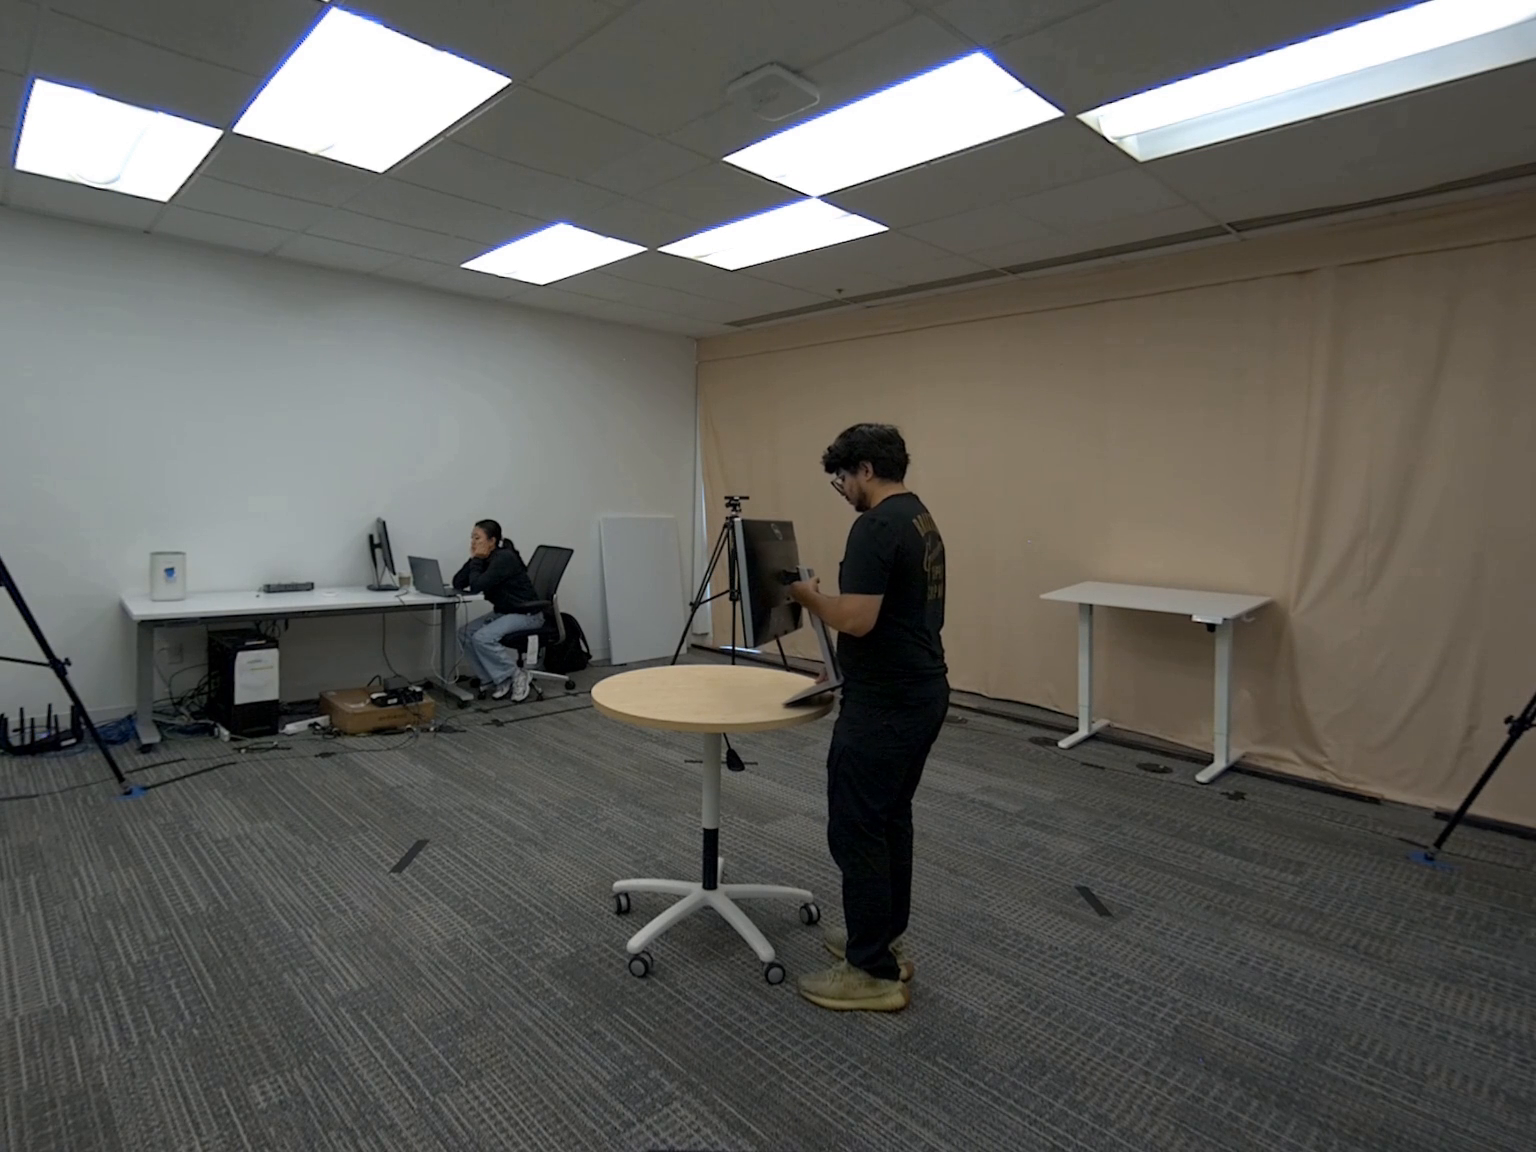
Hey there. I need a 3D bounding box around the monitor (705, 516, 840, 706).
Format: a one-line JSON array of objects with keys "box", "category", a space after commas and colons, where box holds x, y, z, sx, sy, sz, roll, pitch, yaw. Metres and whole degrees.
[{"box": [0.093, 0.086, 2.556, 0.212, 0.556, 0.557, -13, -3, 19], "category": "monitor"}]
